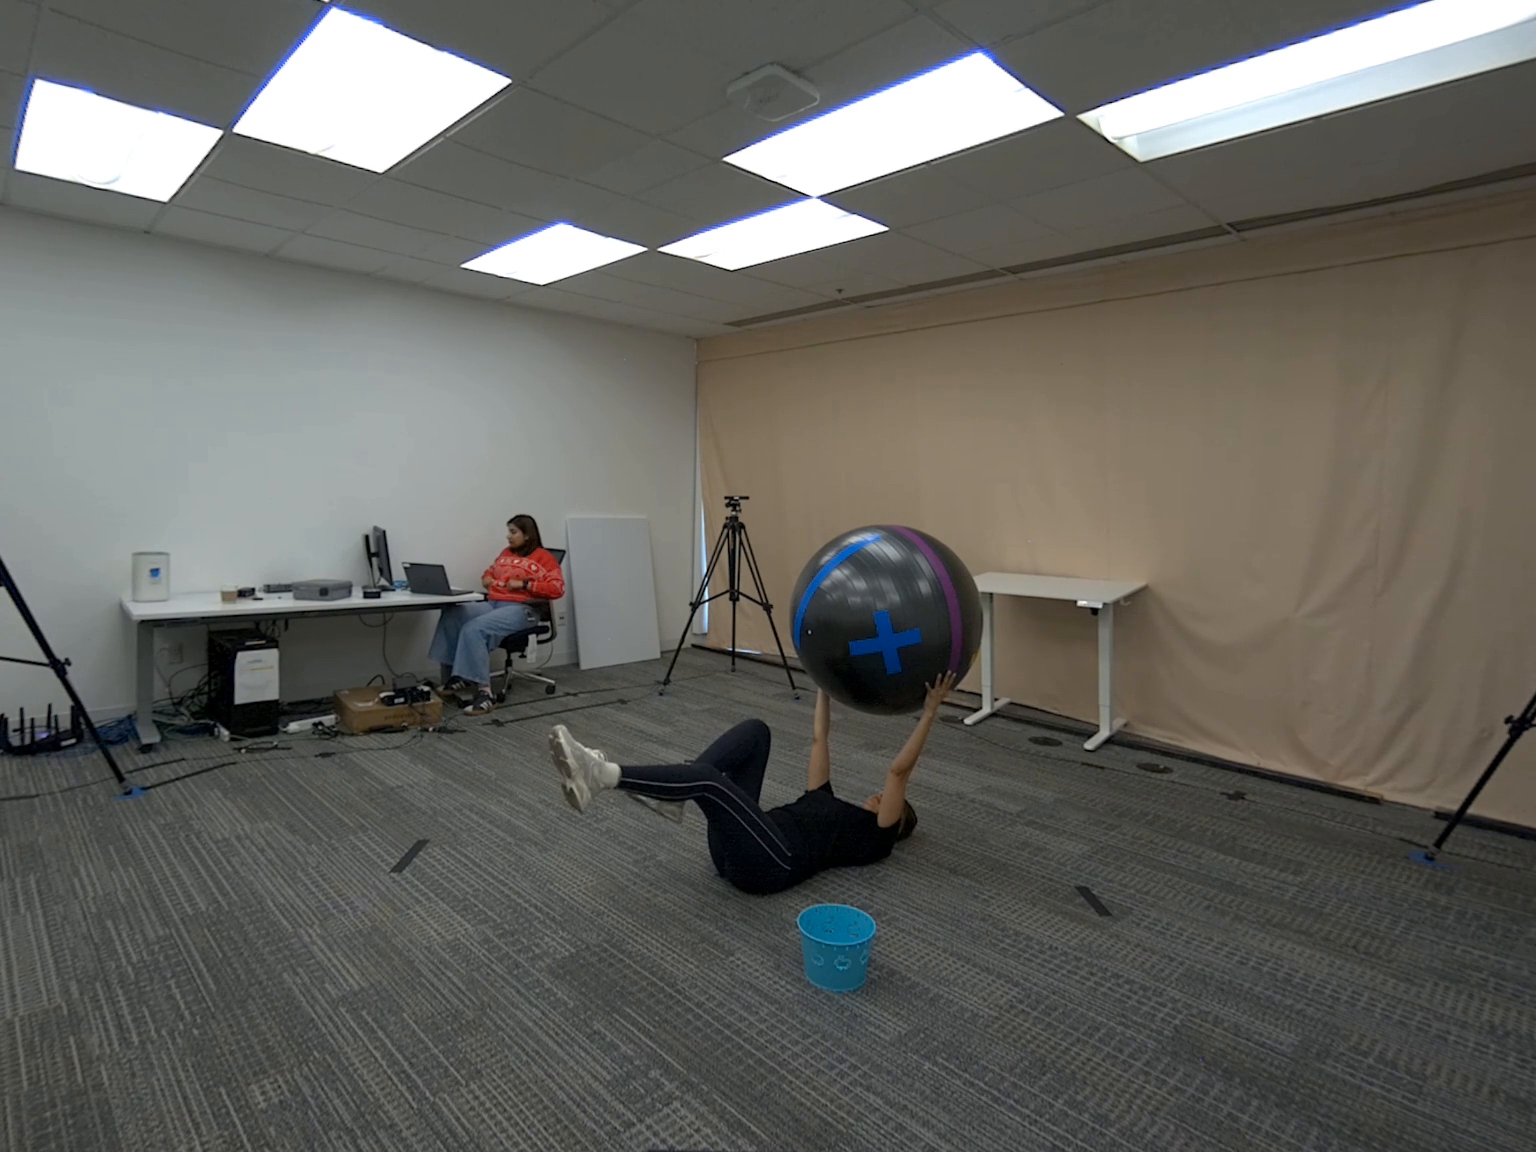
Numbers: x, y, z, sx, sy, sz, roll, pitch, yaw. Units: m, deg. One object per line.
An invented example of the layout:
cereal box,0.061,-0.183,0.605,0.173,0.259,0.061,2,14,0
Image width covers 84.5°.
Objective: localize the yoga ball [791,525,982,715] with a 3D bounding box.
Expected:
yoga ball,0.462,0.174,3.359,0.757,0.754,0.762,0,7,-1
